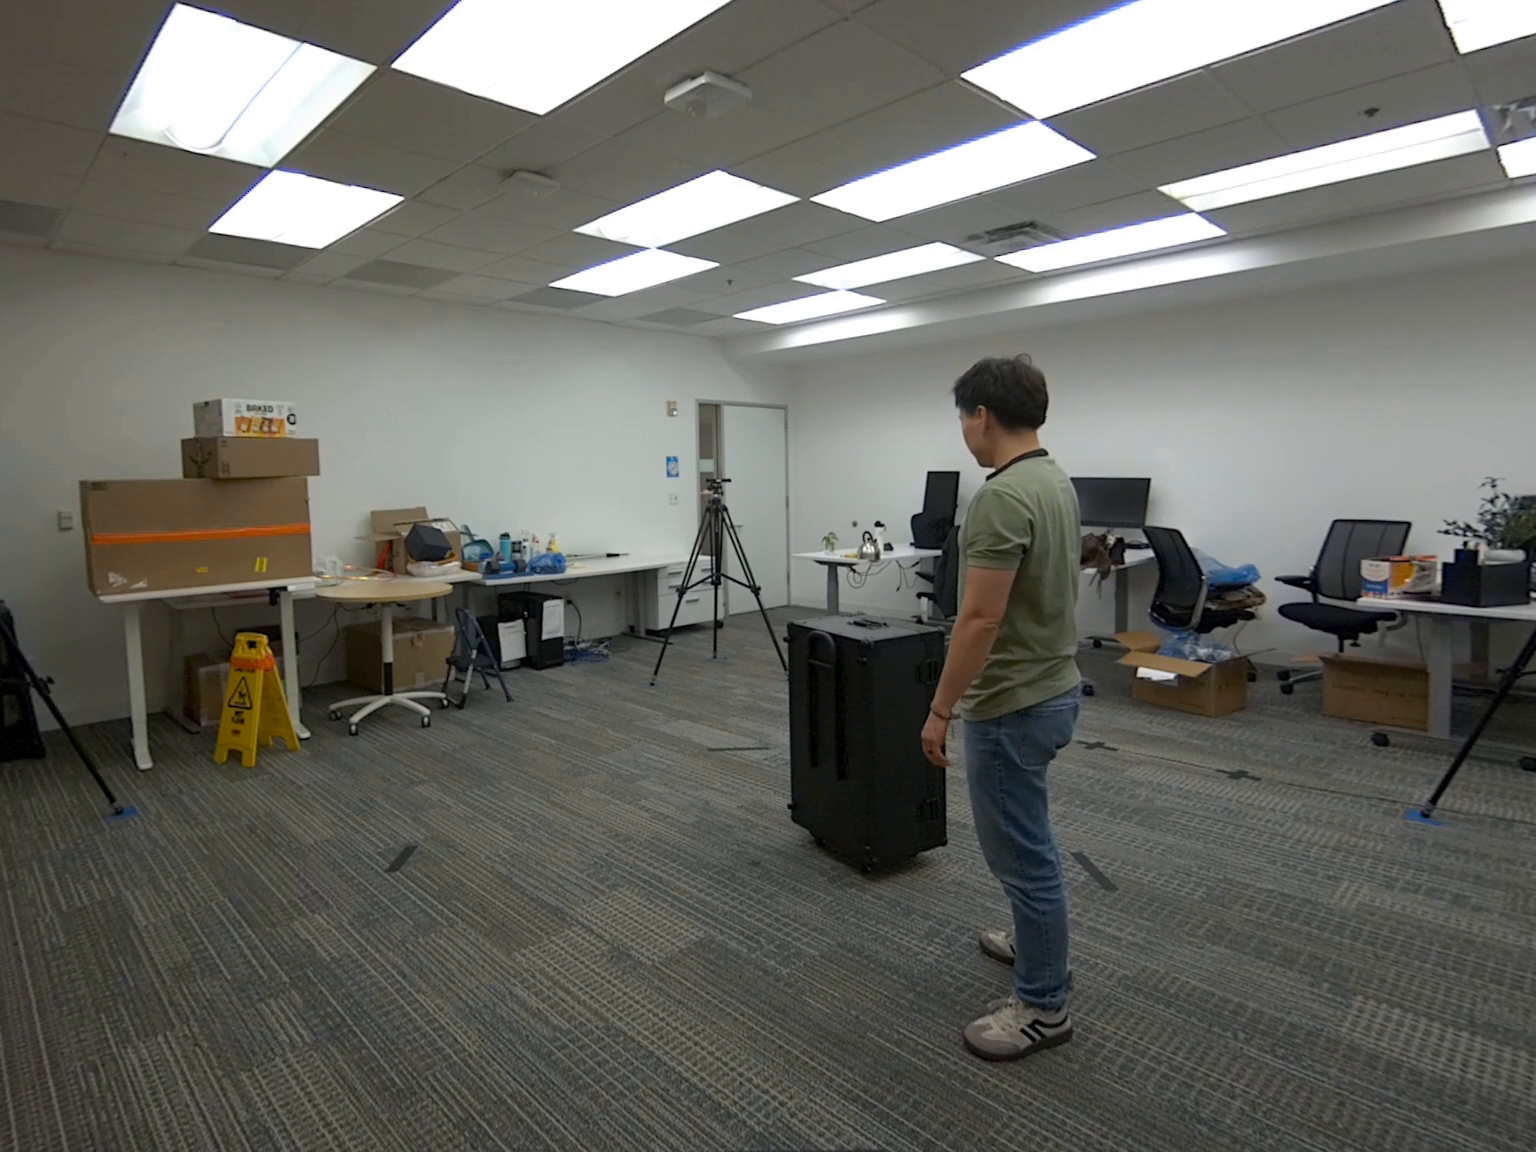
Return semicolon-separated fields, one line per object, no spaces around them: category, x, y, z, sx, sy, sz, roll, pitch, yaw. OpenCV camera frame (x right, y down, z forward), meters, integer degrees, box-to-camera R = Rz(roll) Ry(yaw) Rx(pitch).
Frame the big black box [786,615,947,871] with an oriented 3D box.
big black box;0.354;0.606;3.157;0.387;0.858;0.536;-5;5;-31
